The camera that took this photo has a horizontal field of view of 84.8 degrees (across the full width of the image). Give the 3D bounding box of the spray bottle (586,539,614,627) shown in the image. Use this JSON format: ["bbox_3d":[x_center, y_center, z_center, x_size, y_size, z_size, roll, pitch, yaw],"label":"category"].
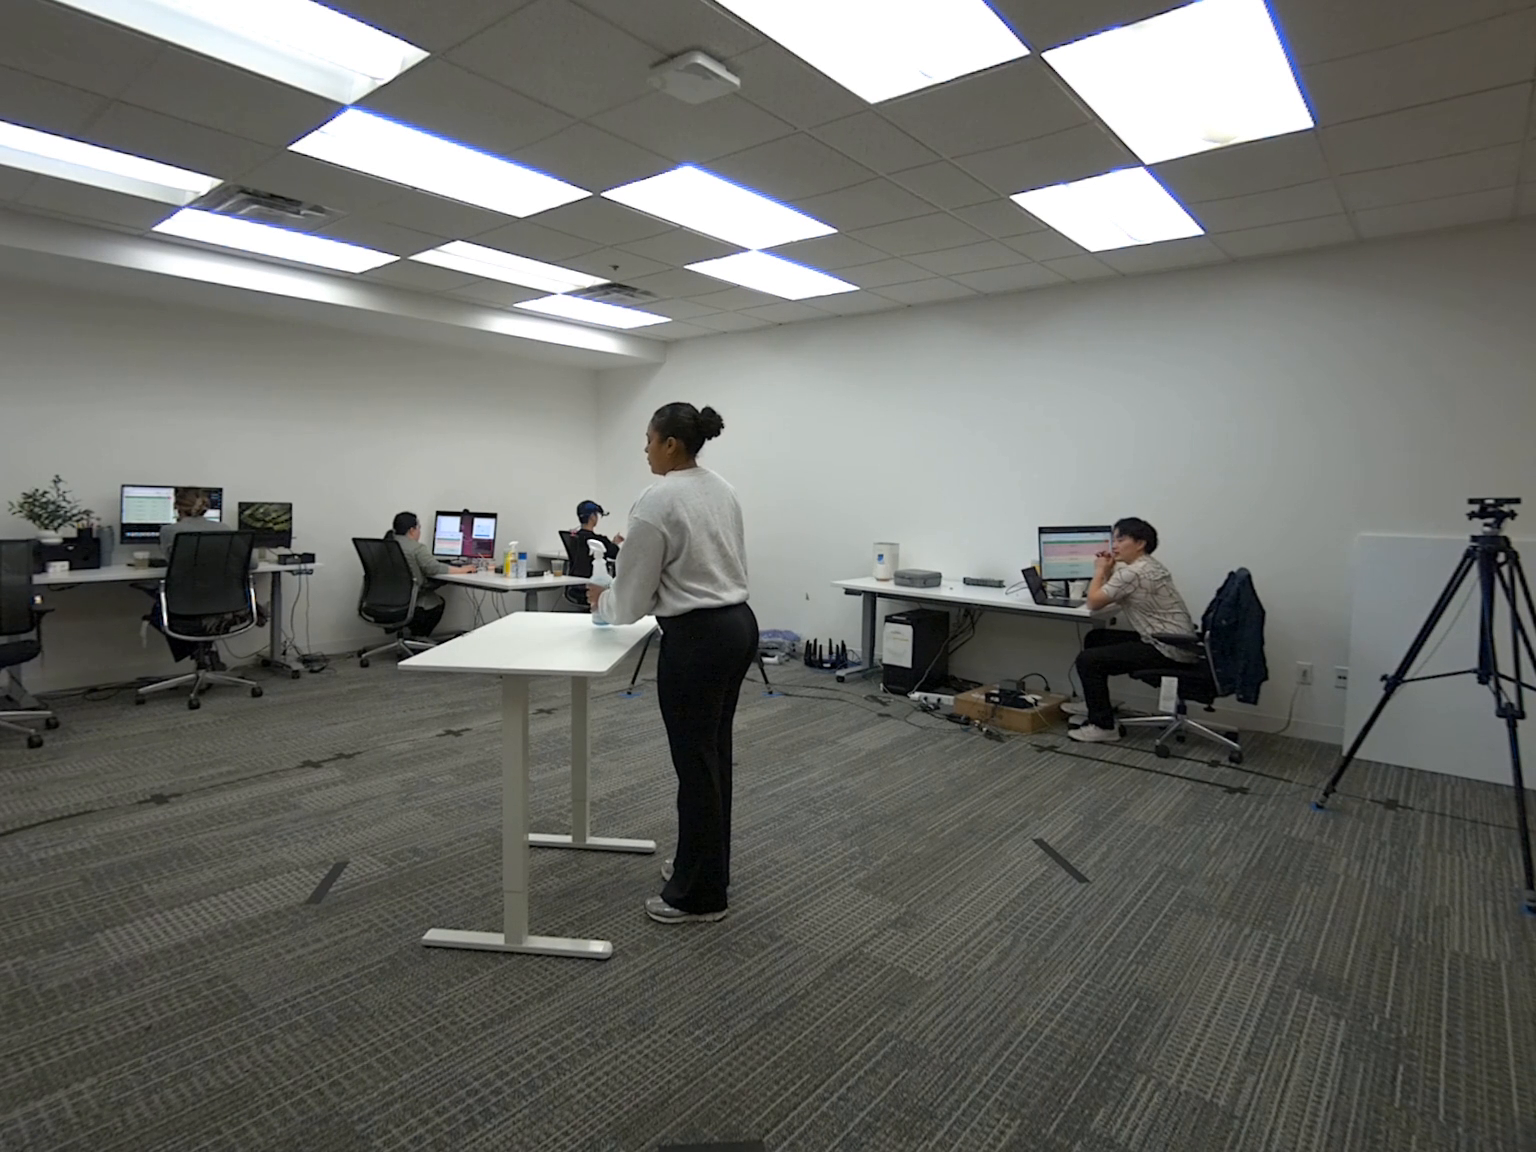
[{"bbox_3d":[-0.612,0.023,2.989,0.085,0.294,0.093,-8,12,-22],"label":"spray bottle"}]
